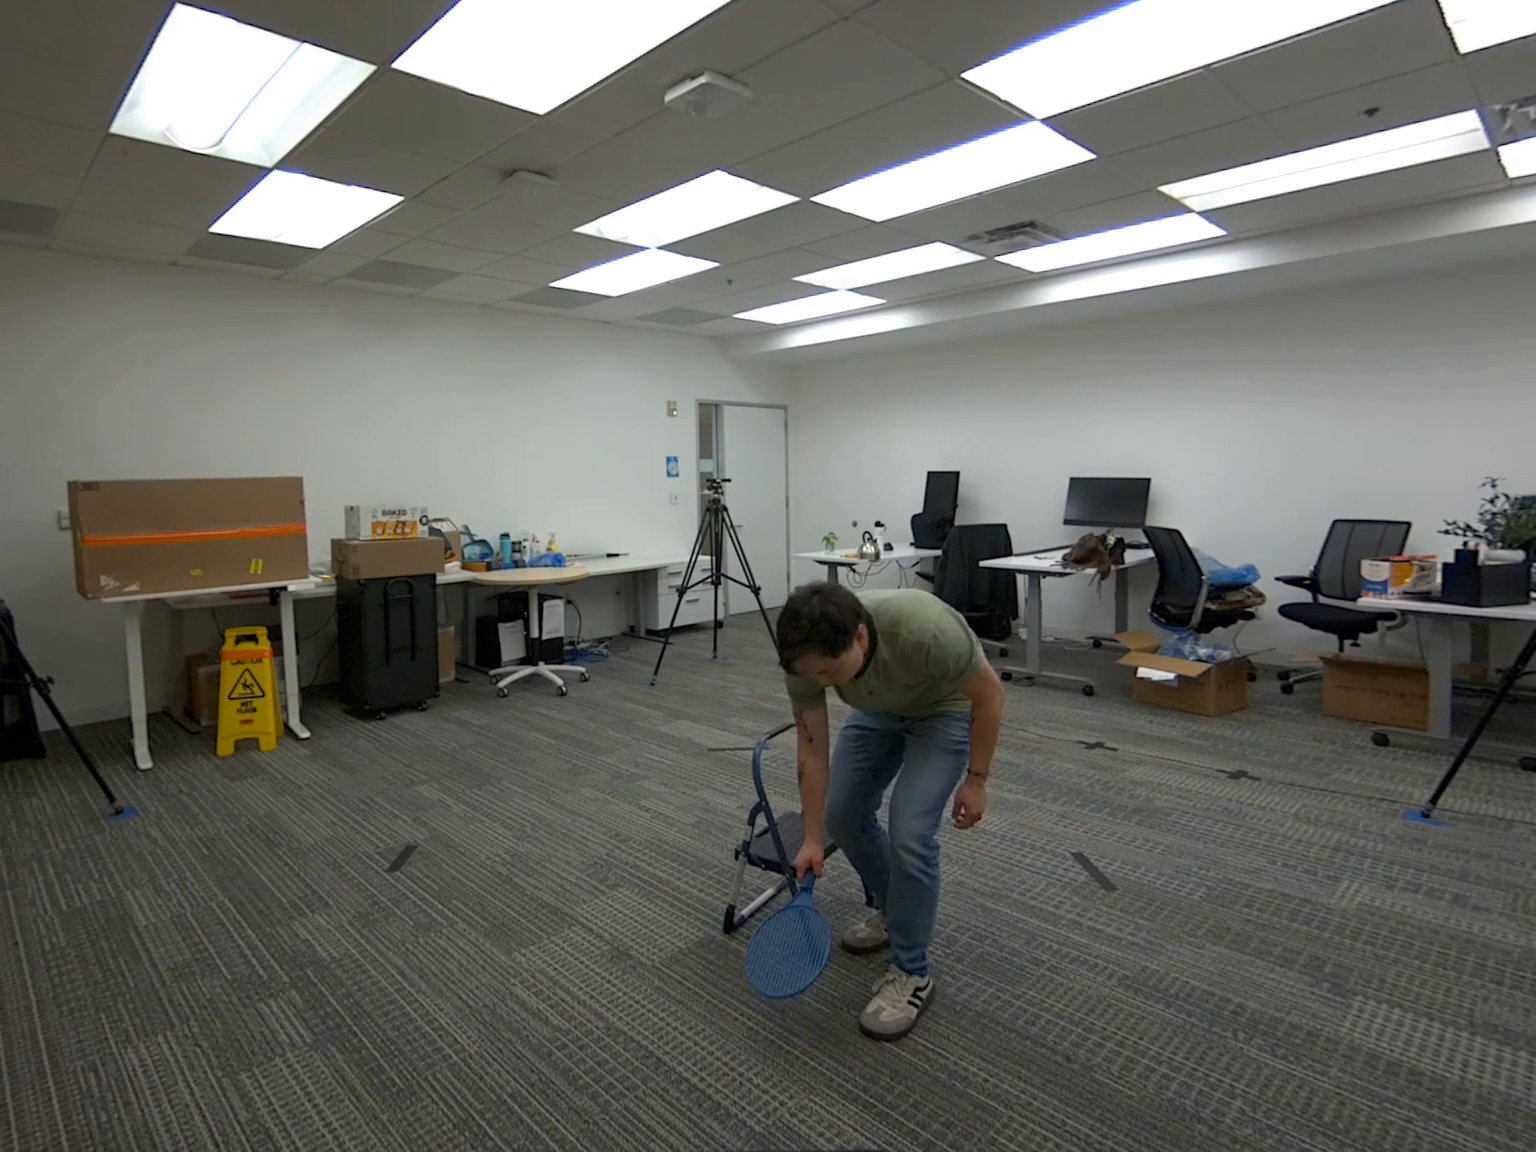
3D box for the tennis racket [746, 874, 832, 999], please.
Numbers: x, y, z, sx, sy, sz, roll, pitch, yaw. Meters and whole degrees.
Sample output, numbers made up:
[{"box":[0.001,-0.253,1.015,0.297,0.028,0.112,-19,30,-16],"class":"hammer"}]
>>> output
[{"box":[0.067,0.887,2.166,0.217,0.031,0.436,-10,26,21],"class":"tennis racket"}]
